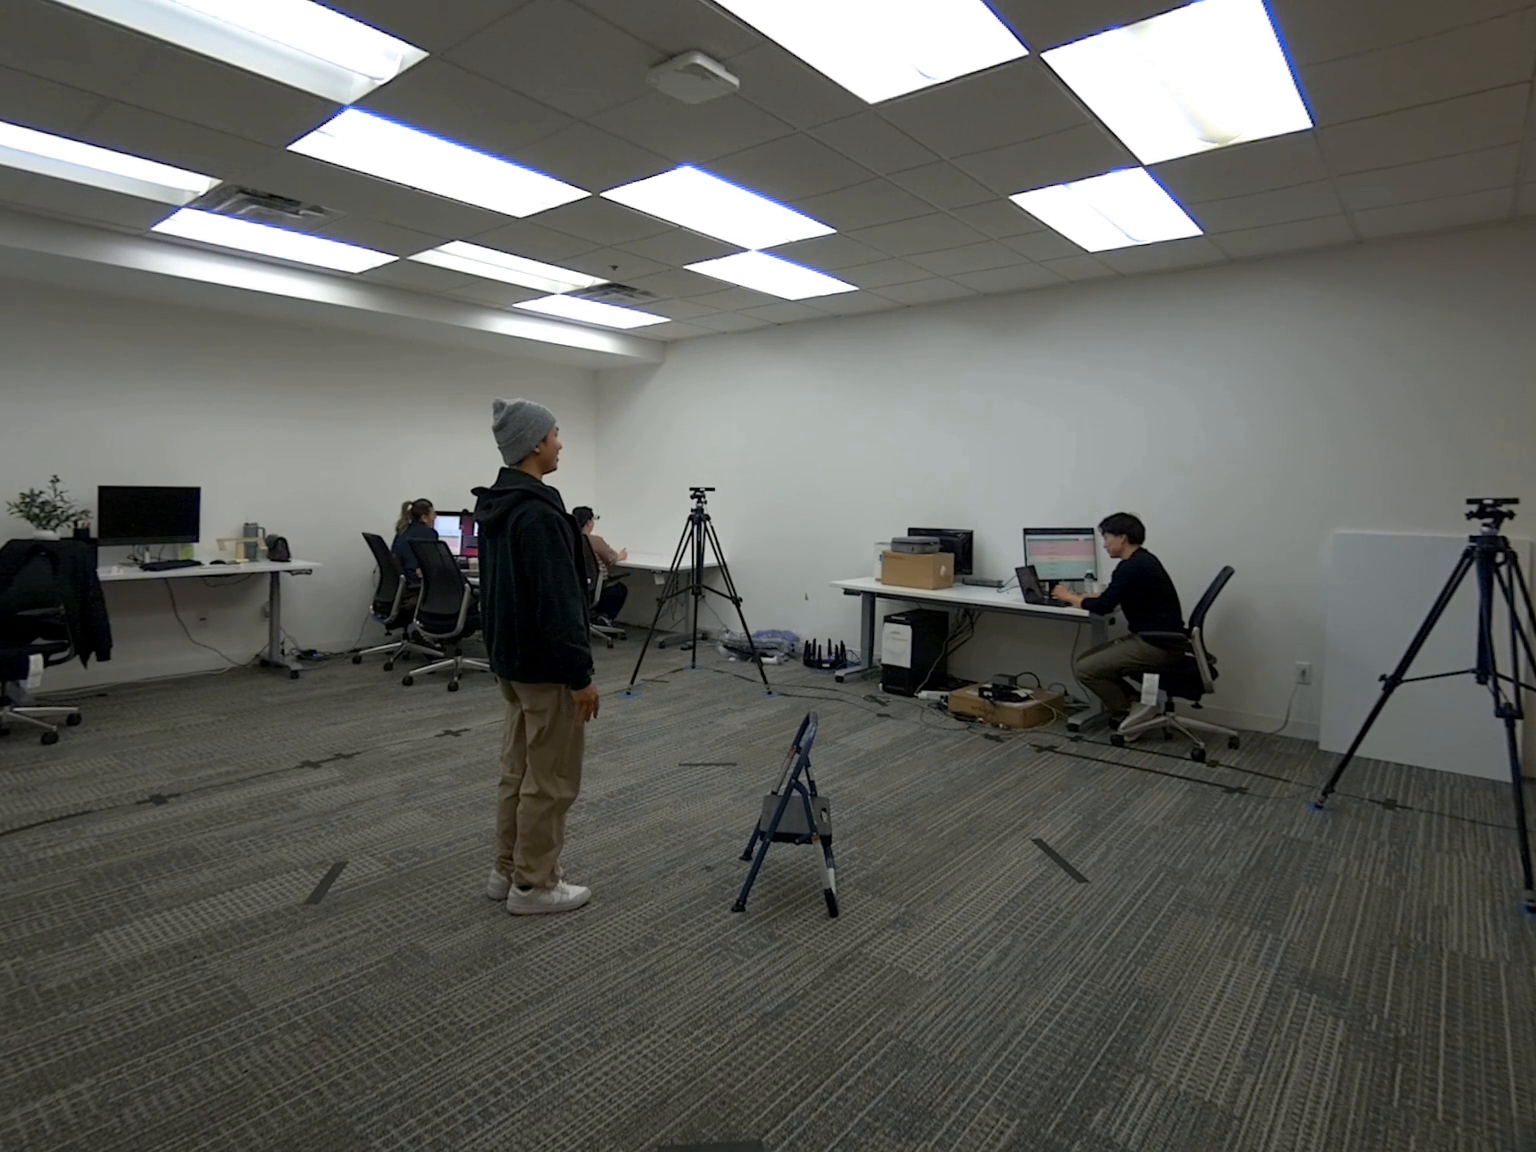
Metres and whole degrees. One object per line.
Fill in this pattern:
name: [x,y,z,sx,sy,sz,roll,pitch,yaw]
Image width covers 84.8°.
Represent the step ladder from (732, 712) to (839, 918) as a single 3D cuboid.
step ladder: [0.067,0.788,2.965,0.351,0.605,0.430,1,3,3]
